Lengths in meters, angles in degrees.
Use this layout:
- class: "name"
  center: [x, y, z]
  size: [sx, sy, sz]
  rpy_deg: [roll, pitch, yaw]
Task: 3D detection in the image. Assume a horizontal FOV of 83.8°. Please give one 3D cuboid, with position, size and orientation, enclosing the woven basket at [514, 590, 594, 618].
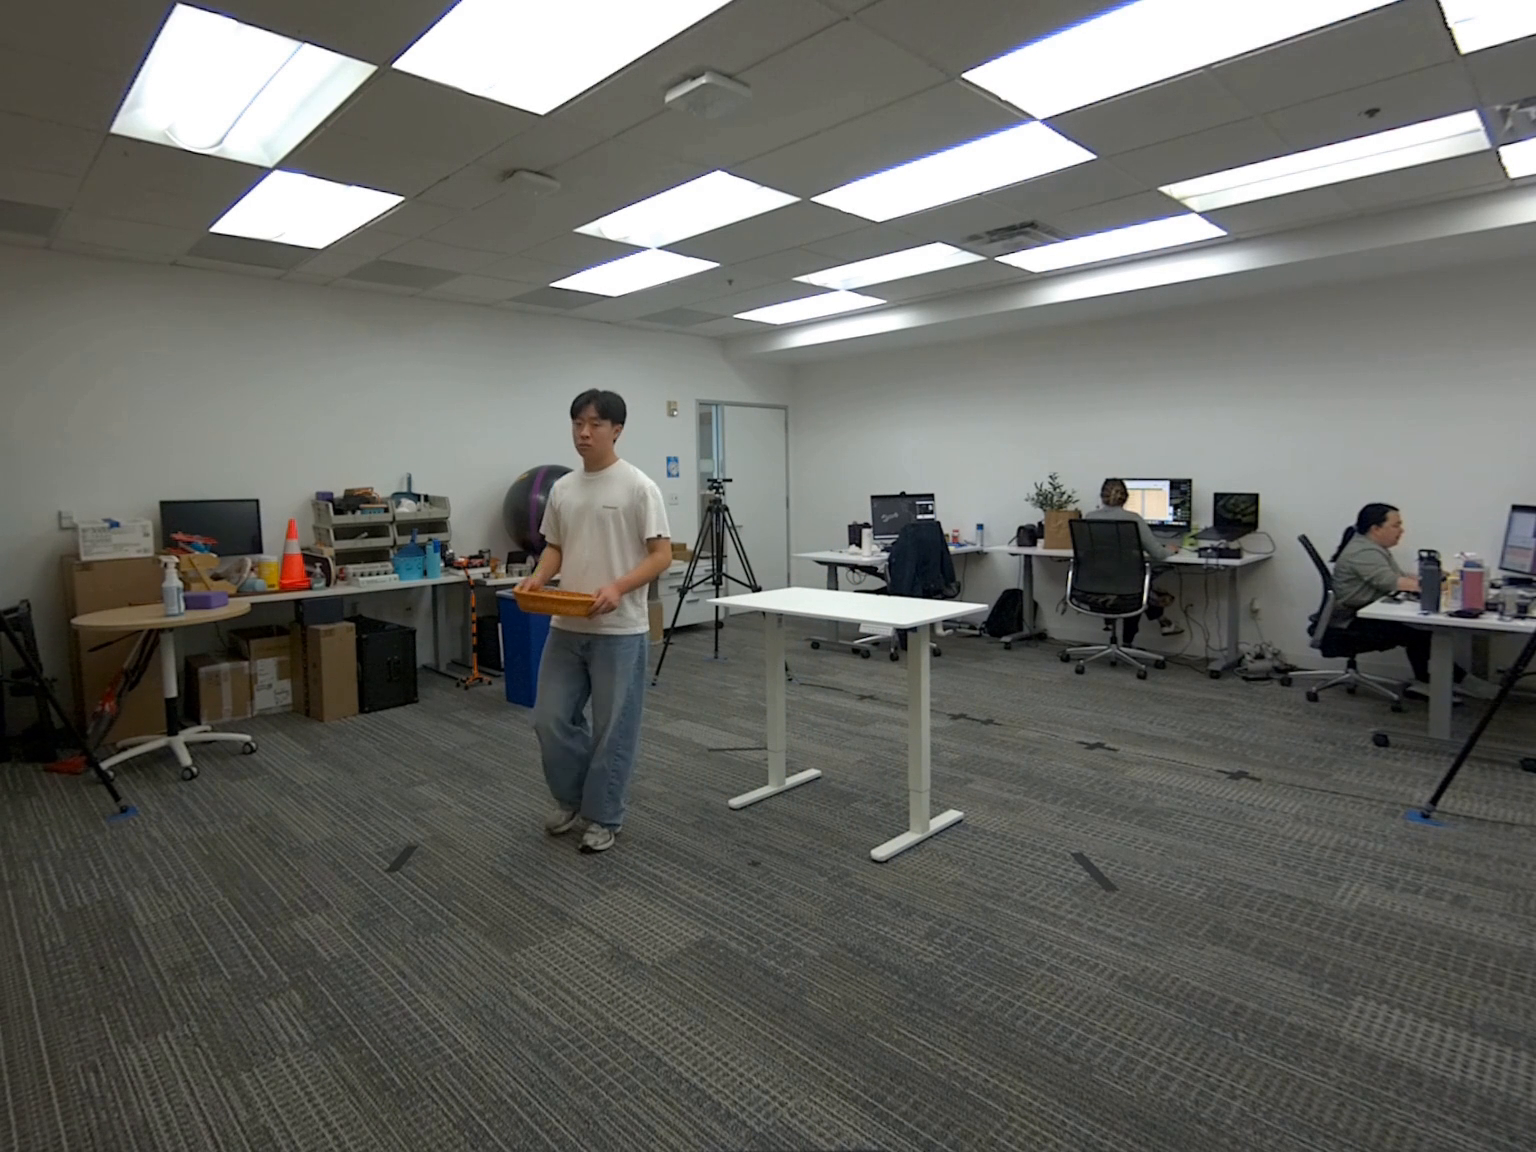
- class: "woven basket"
  center: [-0.754, 0.101, 3.089]
  size: [0.361, 0.073, 0.245]
  rpy_deg: [7, 5, 43]
